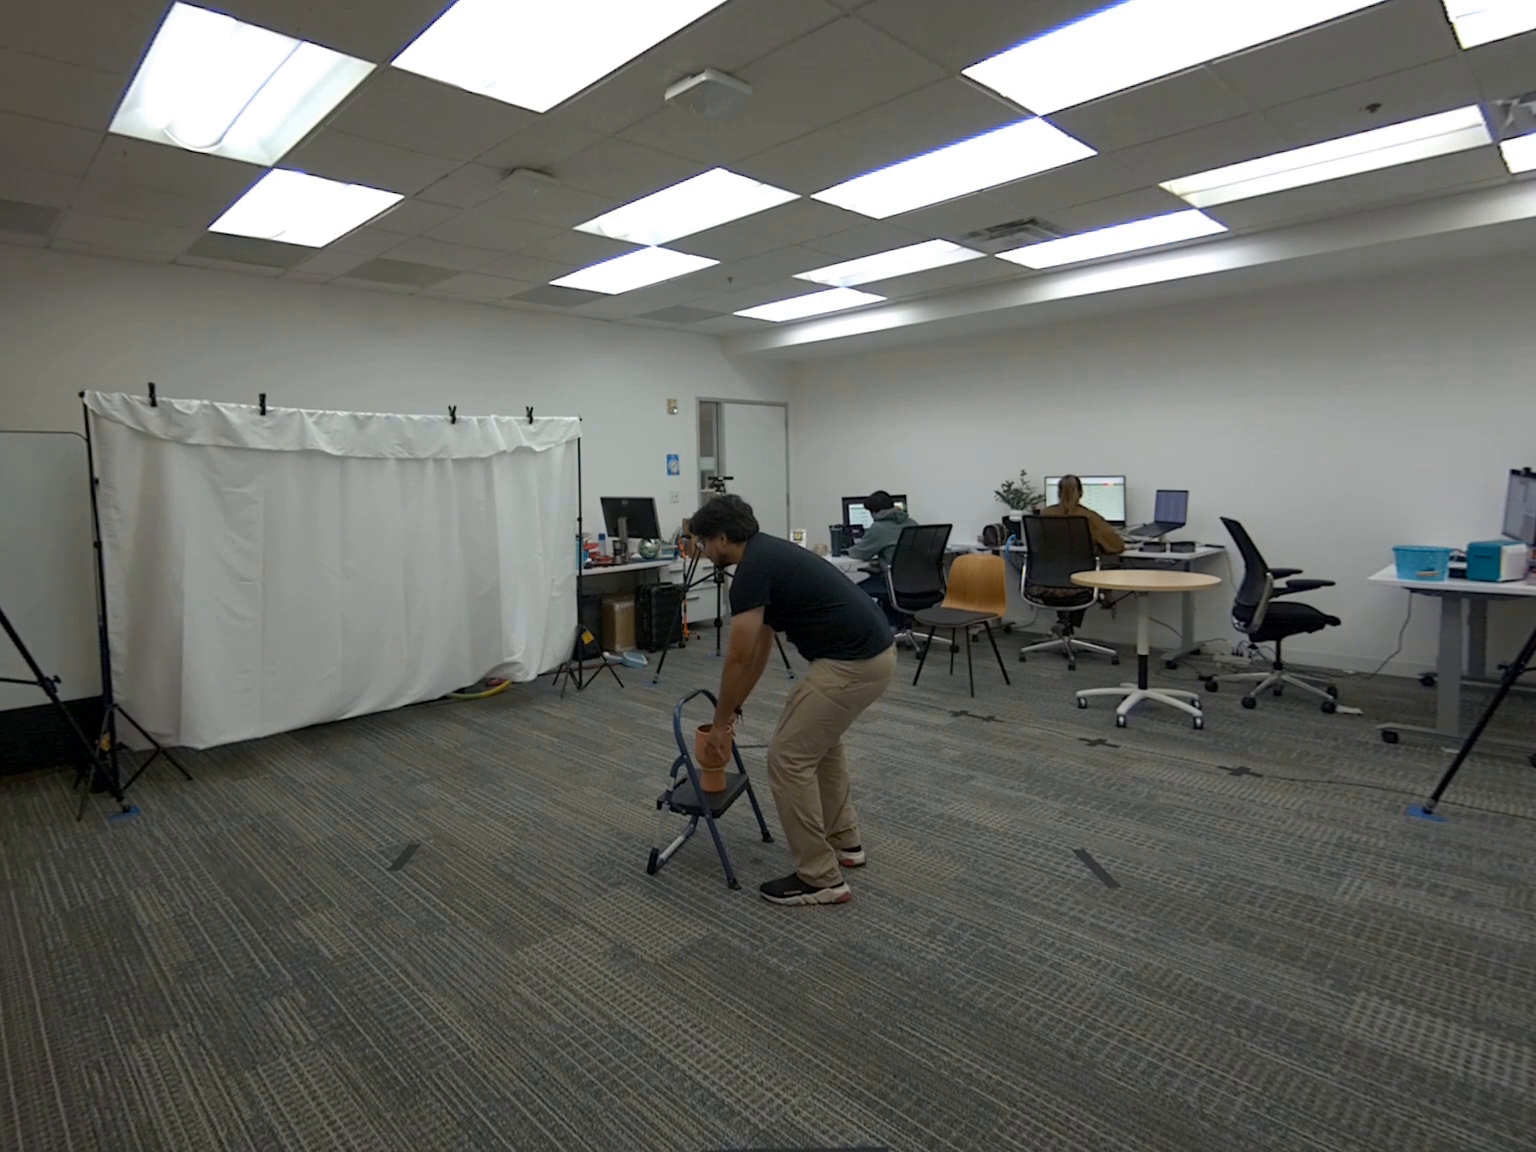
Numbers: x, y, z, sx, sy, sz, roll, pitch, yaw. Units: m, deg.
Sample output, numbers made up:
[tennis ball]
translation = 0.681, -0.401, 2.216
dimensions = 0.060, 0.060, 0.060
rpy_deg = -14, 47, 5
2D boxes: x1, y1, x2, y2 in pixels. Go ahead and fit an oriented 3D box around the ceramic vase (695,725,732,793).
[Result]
[ceramic vase]
translation = -0.193, 0.663, 3.119
dimensions = 0.154, 0.219, 0.139
rpy_deg = -5, 8, -45
